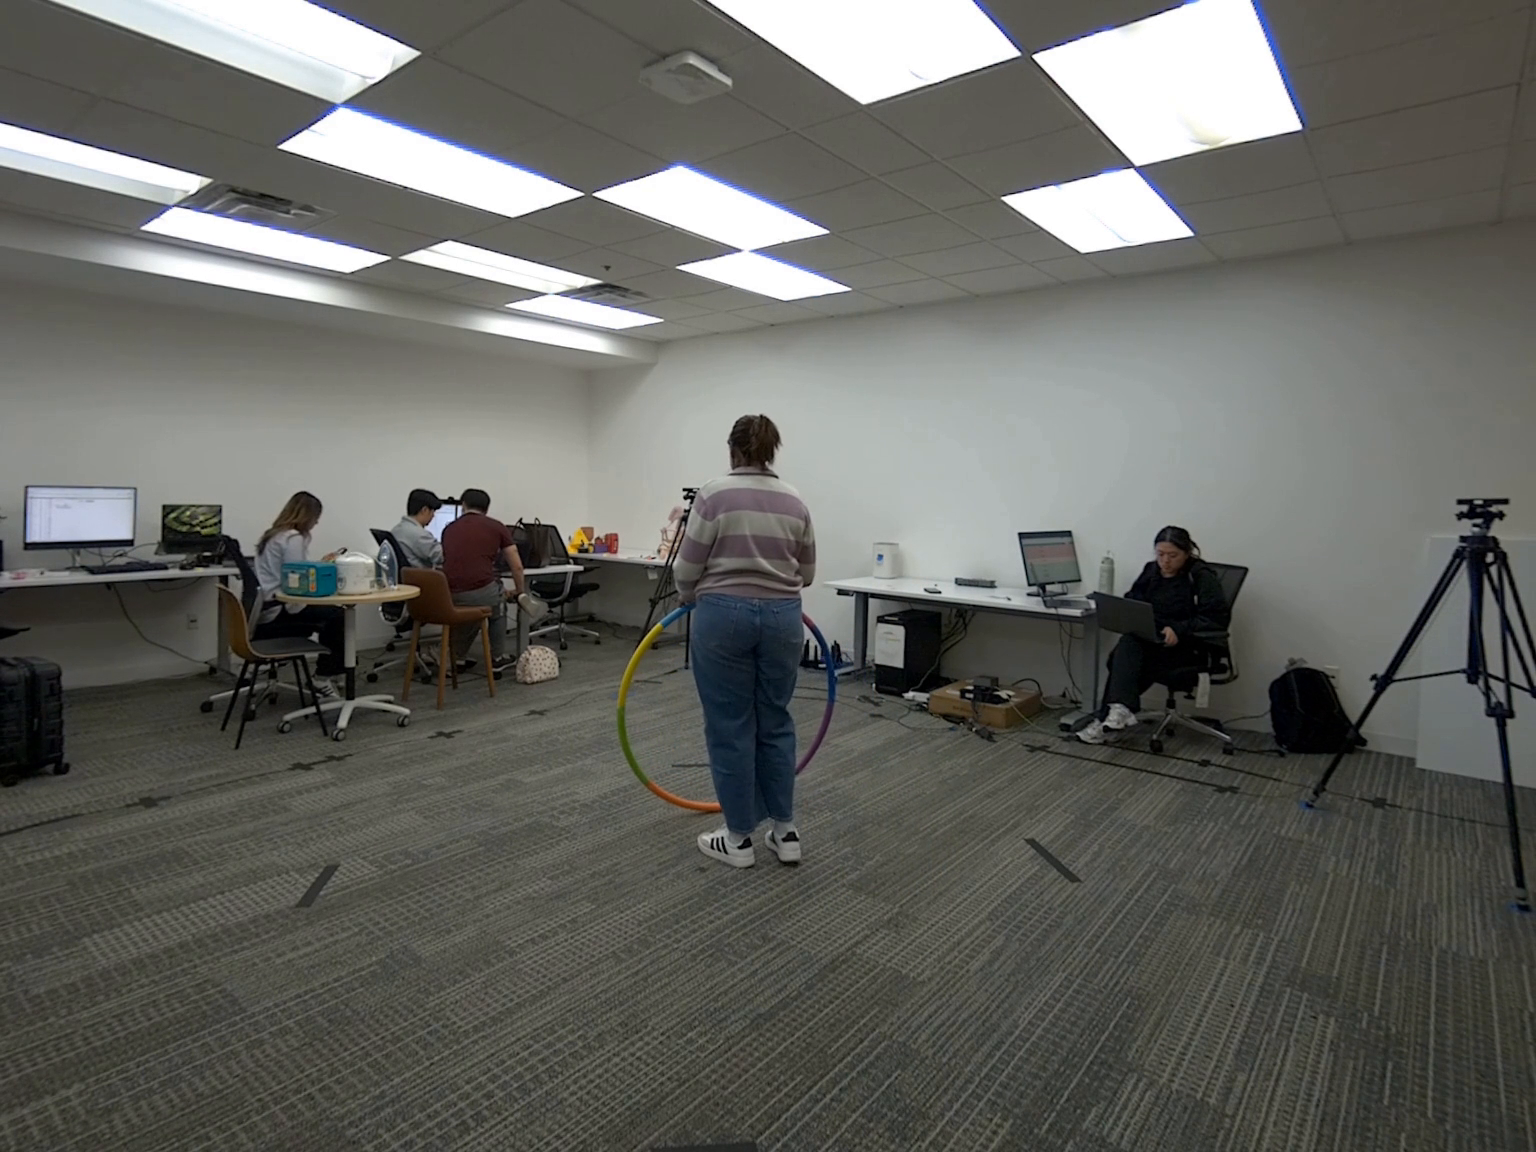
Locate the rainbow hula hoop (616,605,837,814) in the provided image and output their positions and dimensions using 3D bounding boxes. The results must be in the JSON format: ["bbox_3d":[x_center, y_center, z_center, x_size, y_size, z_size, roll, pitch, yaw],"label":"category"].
[{"bbox_3d":[-0.172,0.539,3.609,0.966,0.977,0.053,0,9,-19],"label":"rainbow hula hoop"}]
